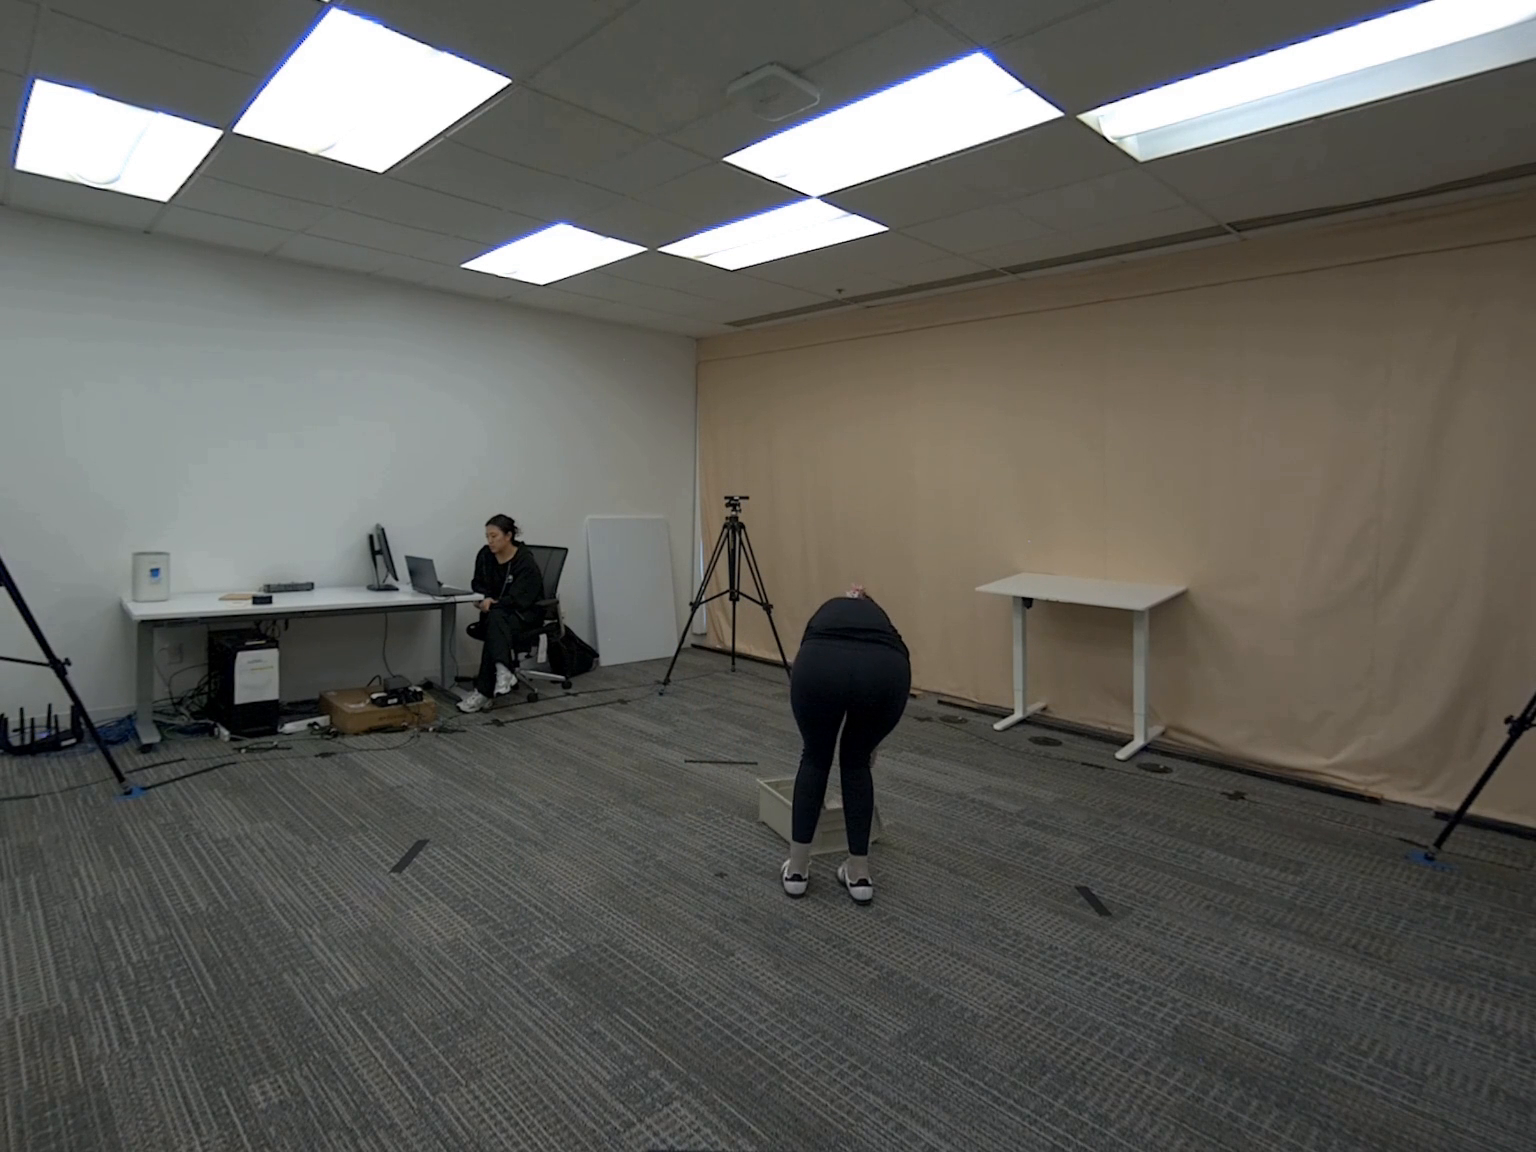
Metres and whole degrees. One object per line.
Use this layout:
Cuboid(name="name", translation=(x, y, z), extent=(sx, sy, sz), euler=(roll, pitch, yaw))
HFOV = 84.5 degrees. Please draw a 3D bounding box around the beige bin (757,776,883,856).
Cuboid(name="beige bin", translation=(0.199, 0.987, 3.529), extent=(0.371, 0.188, 0.431), euler=(-2, 6, -25))
